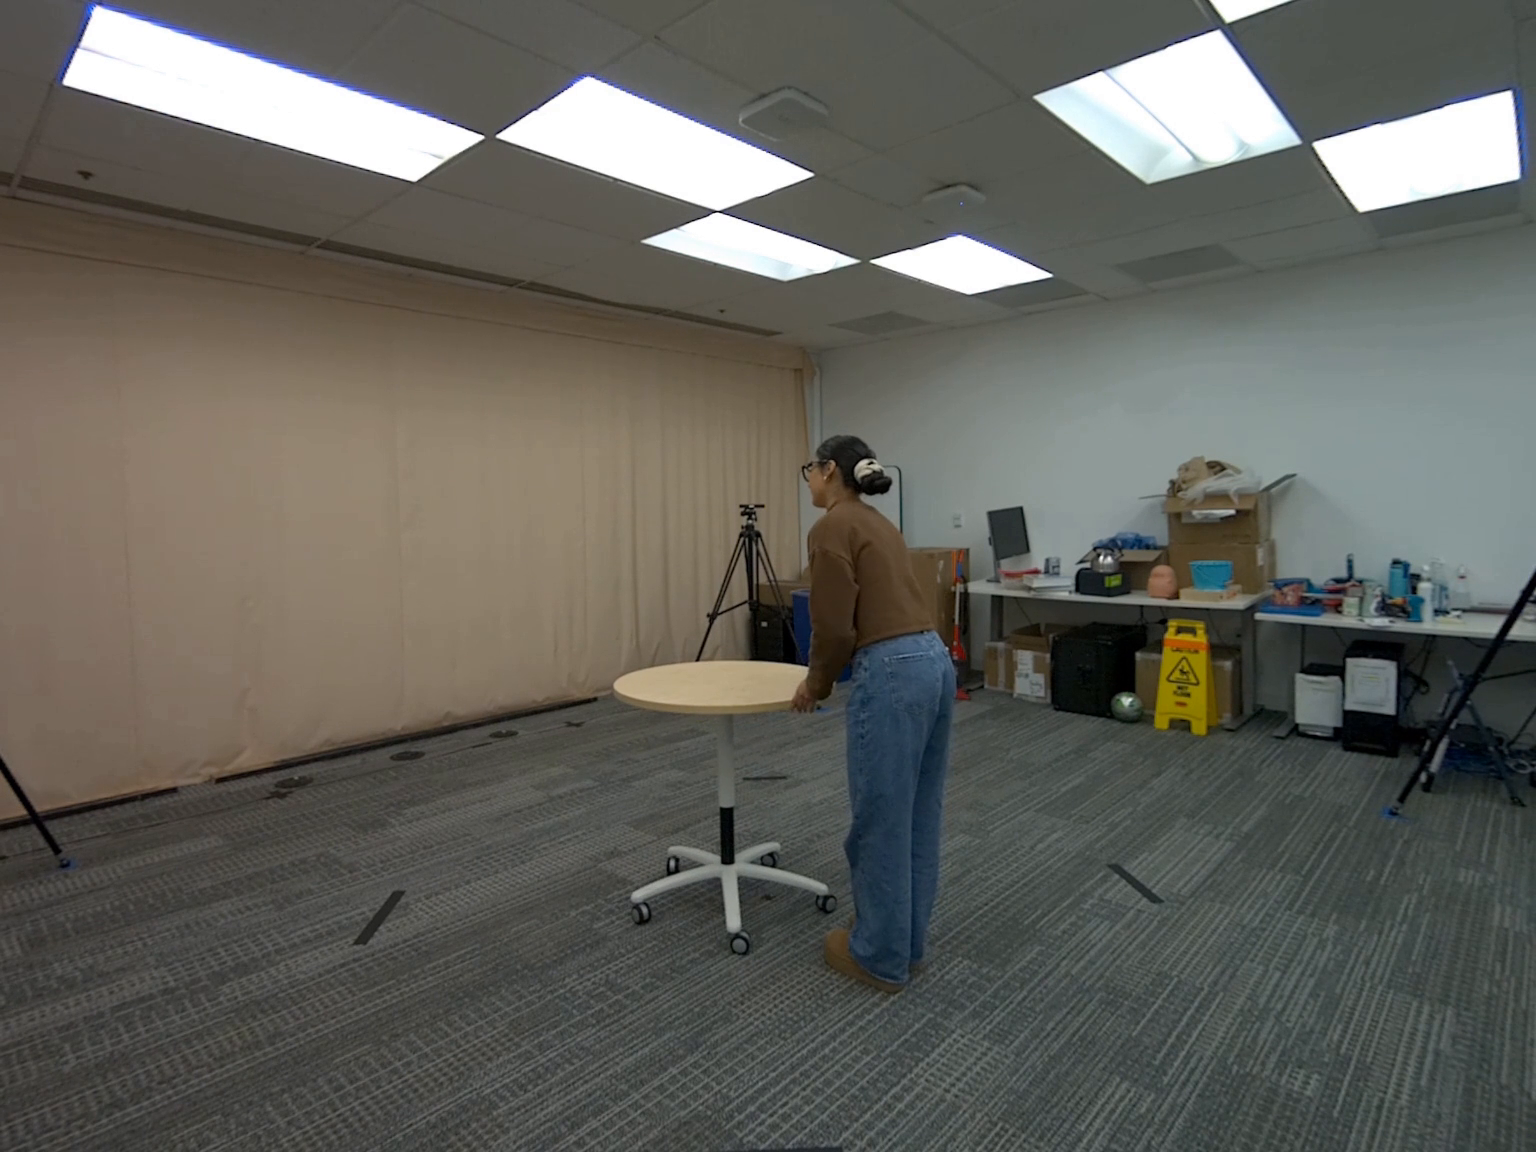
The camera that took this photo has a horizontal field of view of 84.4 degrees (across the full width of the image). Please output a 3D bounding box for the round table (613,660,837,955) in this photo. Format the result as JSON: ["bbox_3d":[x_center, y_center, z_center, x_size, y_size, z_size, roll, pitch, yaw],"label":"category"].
[{"bbox_3d":[-0.137,0.756,2.936,0.763,0.792,0.766,-1,3,-2],"label":"round table"}]
